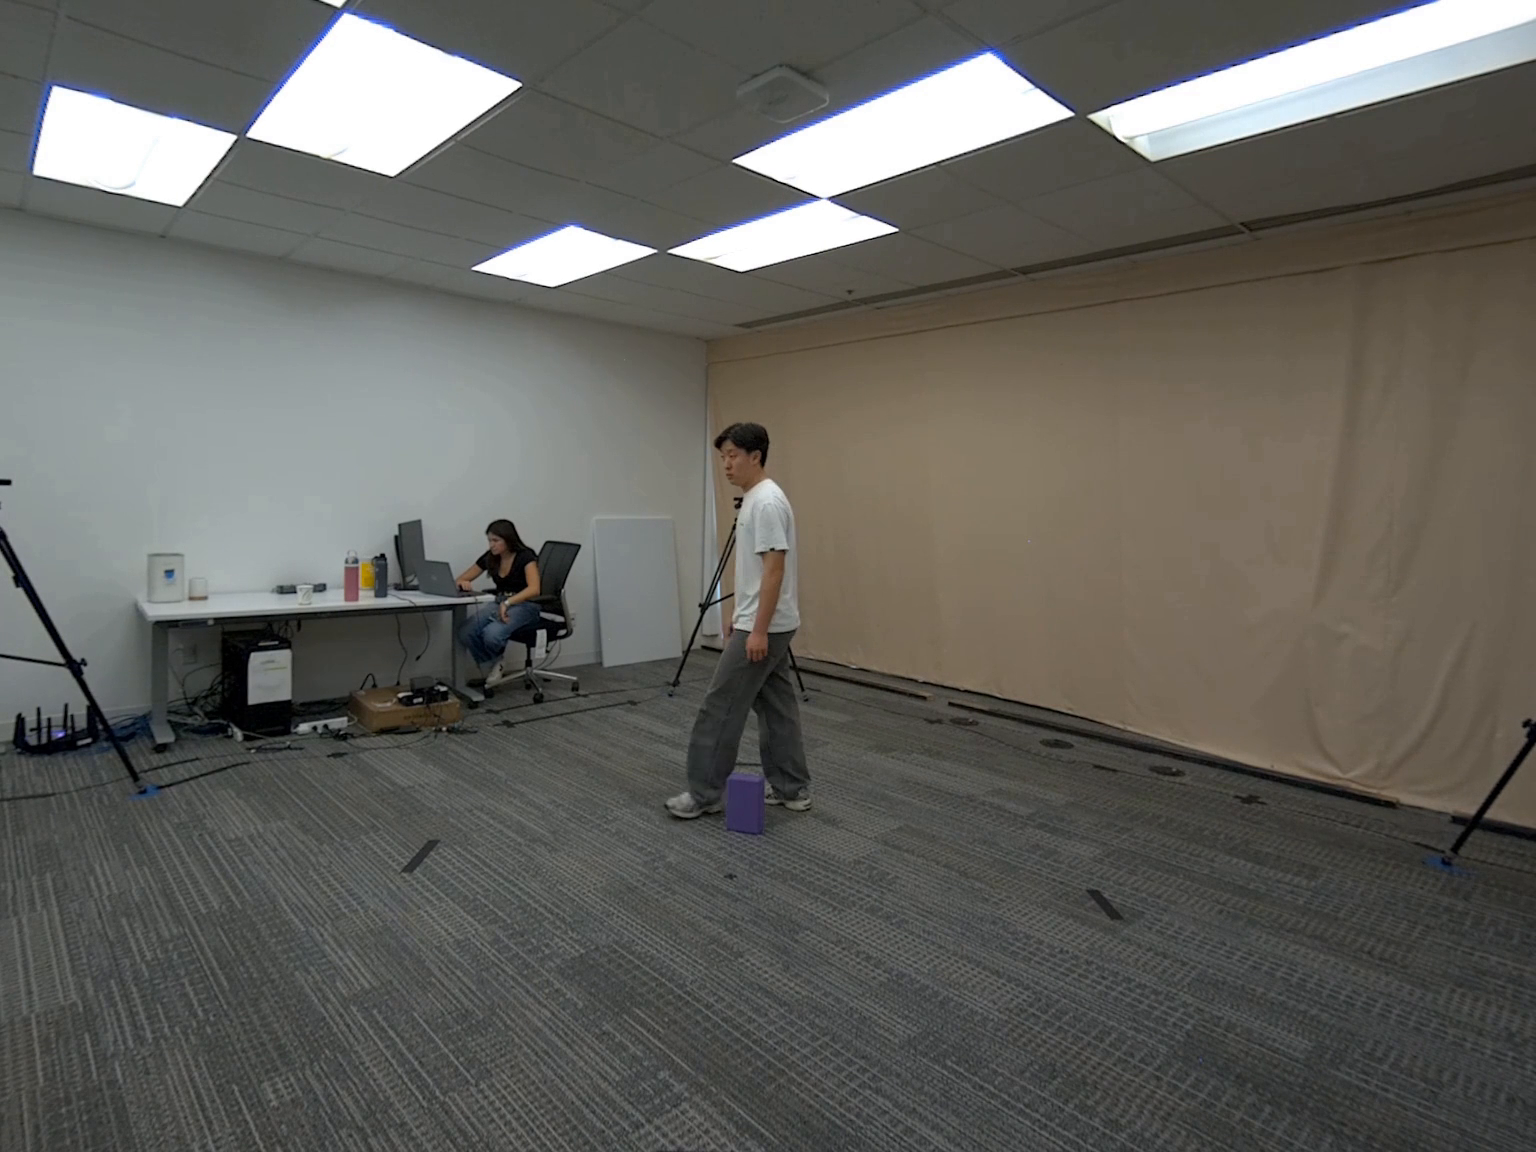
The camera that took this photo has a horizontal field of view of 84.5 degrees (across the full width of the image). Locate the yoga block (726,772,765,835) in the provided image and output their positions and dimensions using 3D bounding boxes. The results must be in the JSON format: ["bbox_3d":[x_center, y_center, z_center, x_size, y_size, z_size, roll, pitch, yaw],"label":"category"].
[{"bbox_3d":[-0.110,0.959,3.539,0.151,0.229,0.075,1,4,16],"label":"yoga block"}]
